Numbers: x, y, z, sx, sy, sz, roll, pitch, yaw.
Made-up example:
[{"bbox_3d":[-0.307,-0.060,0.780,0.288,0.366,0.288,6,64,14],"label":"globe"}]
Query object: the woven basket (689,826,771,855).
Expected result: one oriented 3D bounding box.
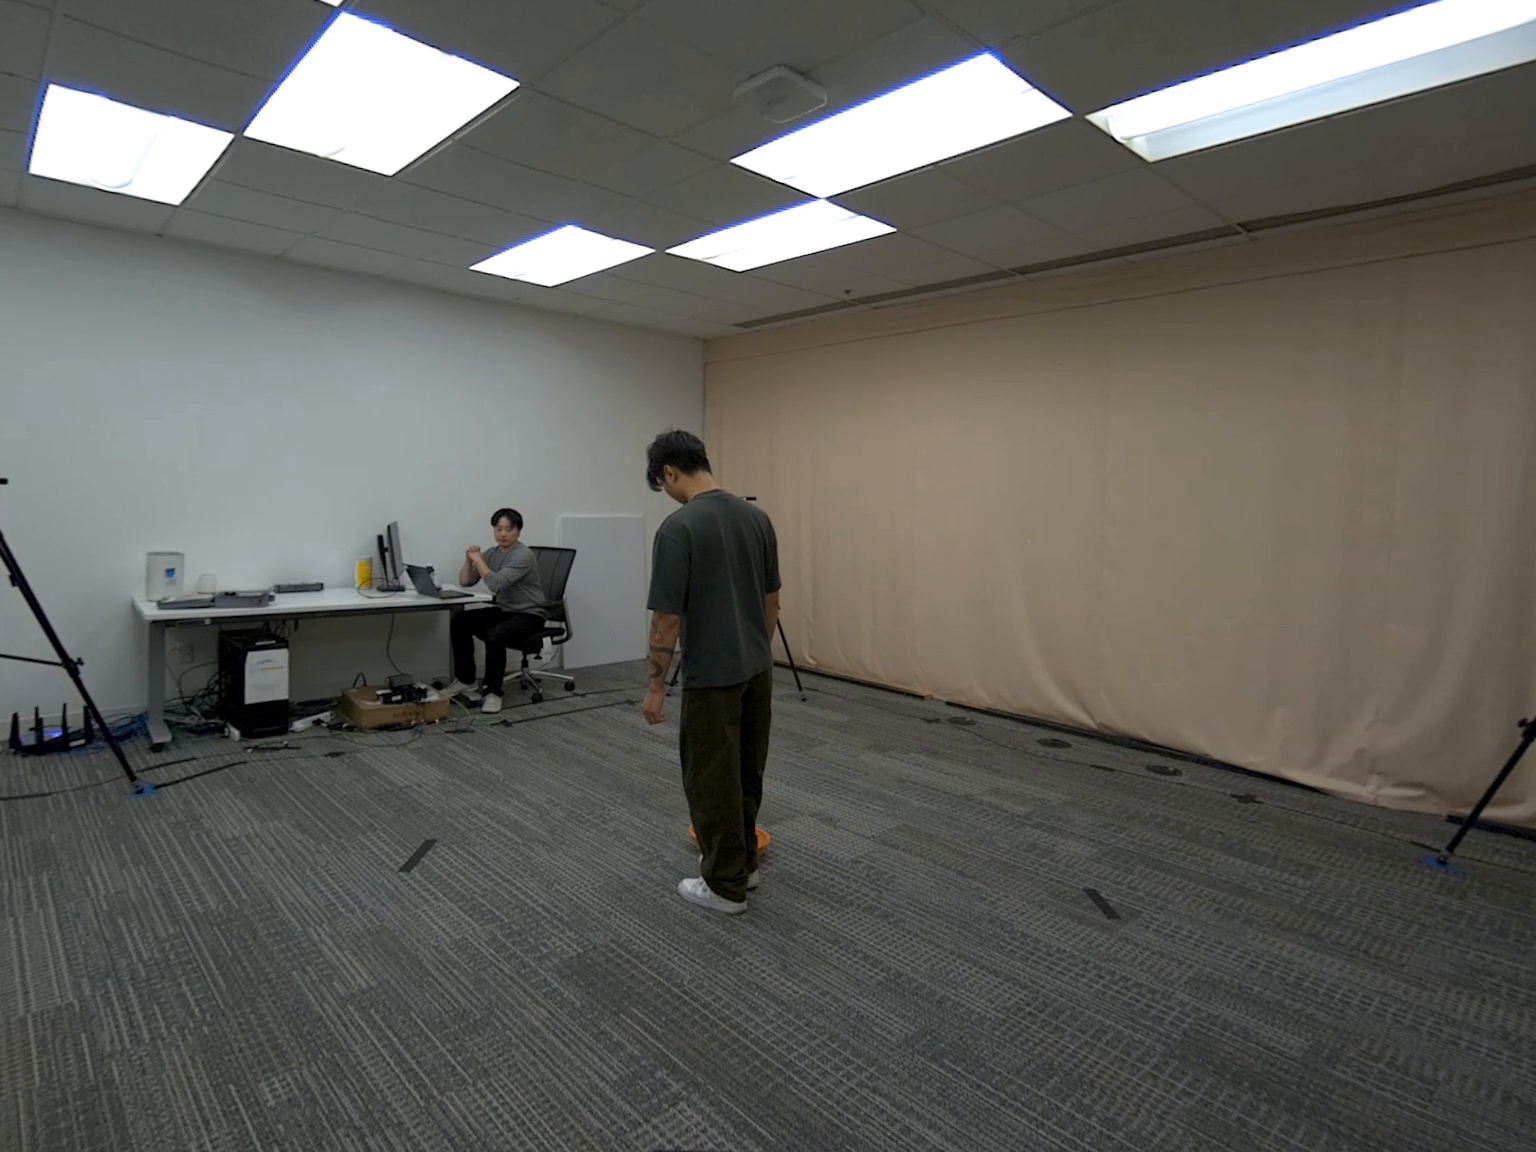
[{"bbox_3d":[-0.160,1.051,3.332,0.359,0.073,0.247,6,6,42],"label":"woven basket"}]
